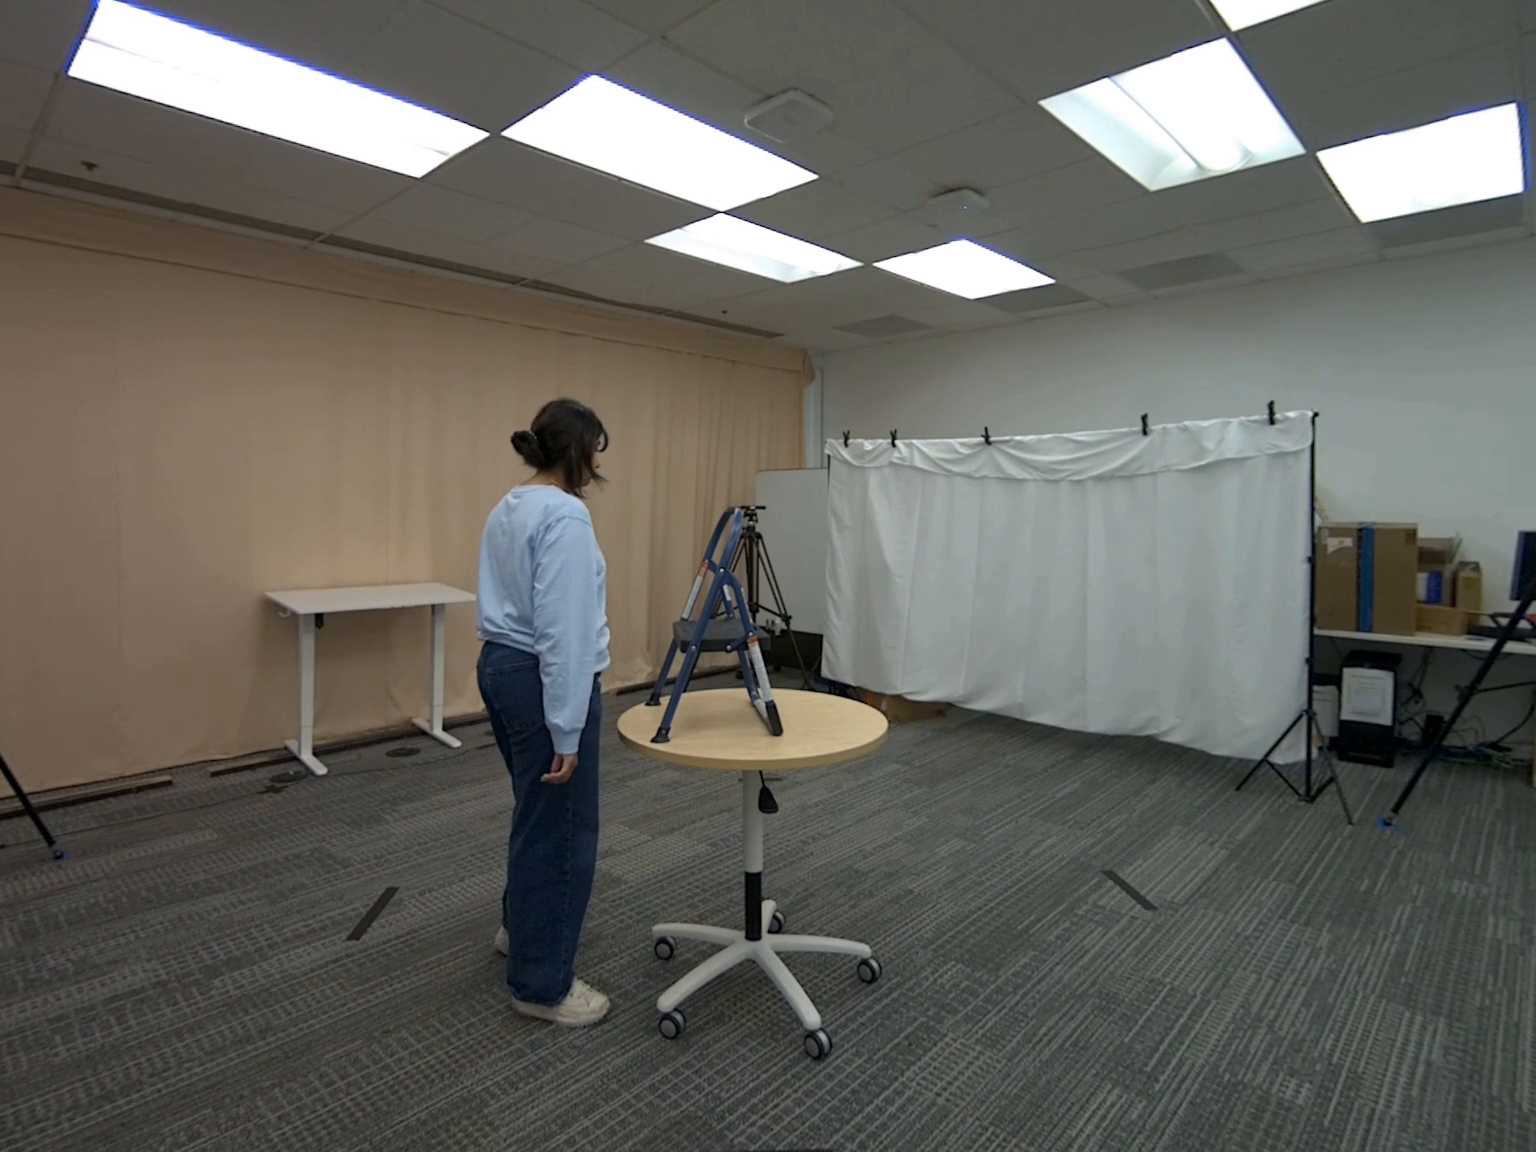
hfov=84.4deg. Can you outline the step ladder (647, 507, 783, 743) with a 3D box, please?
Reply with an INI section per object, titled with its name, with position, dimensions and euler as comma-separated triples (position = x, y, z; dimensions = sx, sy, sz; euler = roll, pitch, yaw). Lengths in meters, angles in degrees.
[step ladder]
position = -0.166, 0.106, 2.383
dimensions = 0.346, 0.605, 0.435
euler = -2, 4, -9
